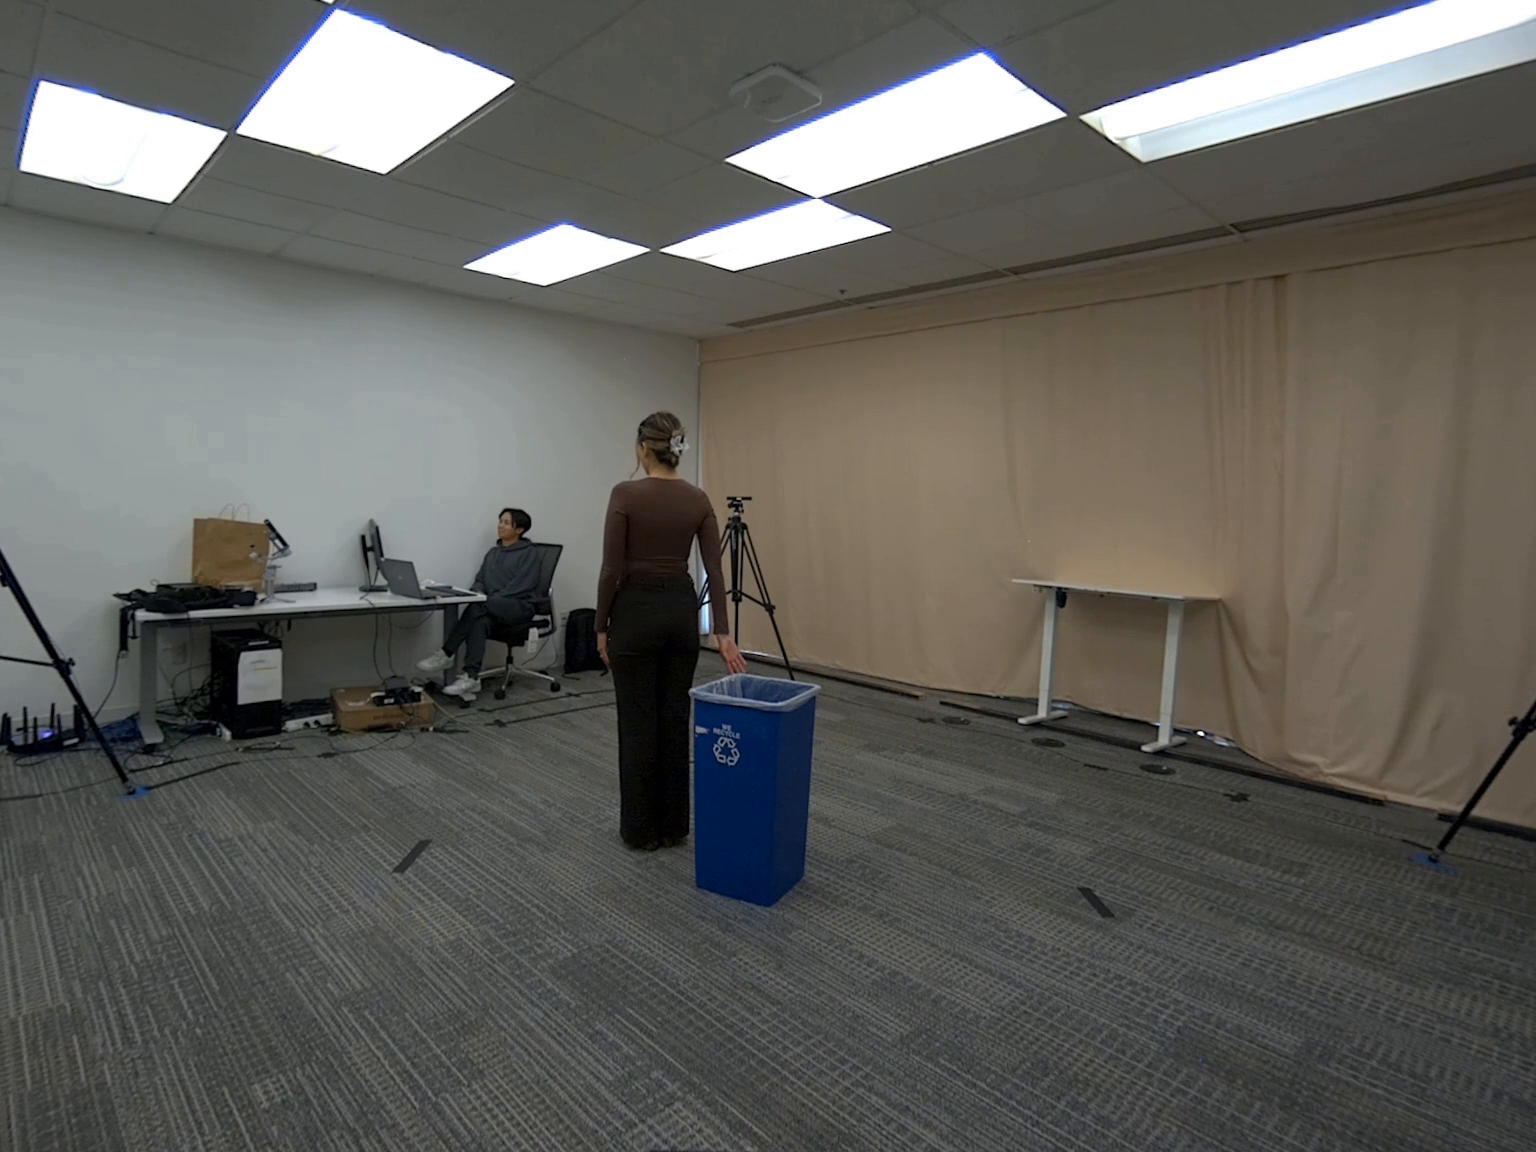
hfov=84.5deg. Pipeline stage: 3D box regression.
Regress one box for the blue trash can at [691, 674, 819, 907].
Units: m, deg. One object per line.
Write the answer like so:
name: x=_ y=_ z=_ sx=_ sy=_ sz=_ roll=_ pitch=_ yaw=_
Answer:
blue trash can: x=-0.062 y=0.754 z=3.046 sx=0.386 sy=0.711 sz=0.367 roll=3 pitch=5 yaw=27
